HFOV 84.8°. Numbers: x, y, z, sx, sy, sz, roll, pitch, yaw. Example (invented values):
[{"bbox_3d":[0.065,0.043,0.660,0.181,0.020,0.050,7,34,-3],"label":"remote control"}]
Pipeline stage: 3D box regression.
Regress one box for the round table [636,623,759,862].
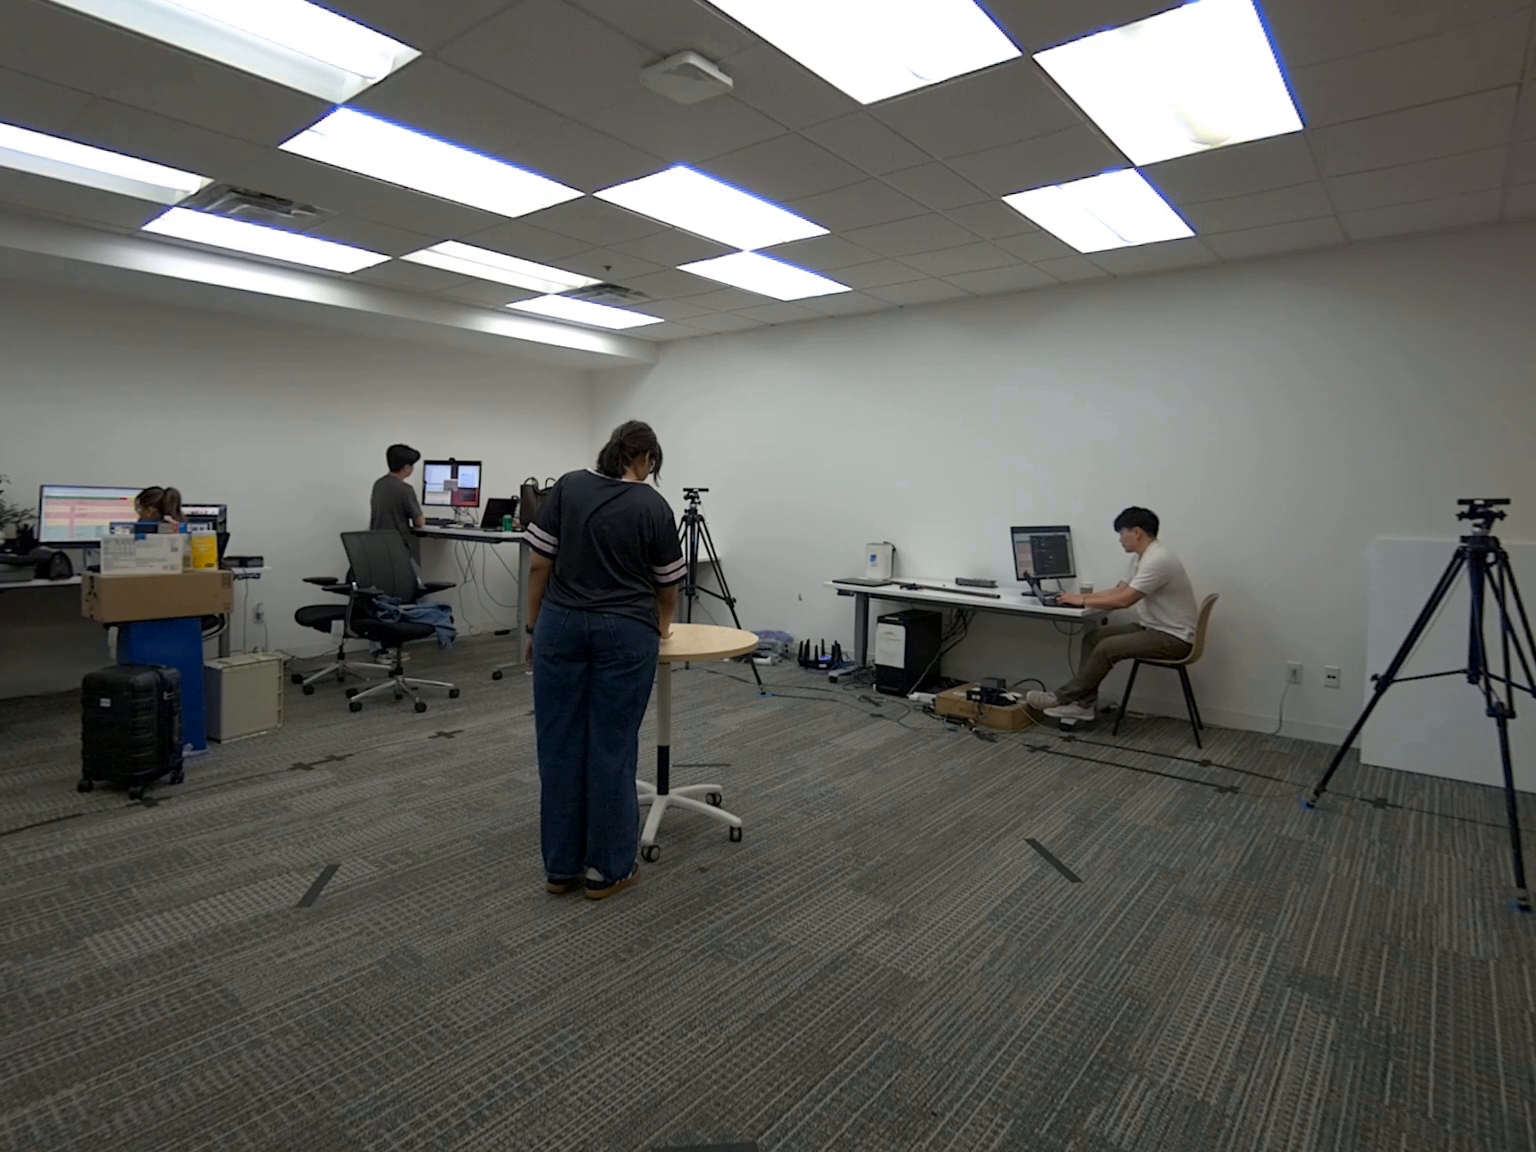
[{"bbox_3d":[-0.448,0.638,3.484,0.784,0.784,0.789,1,4,-2],"label":"round table"}]
